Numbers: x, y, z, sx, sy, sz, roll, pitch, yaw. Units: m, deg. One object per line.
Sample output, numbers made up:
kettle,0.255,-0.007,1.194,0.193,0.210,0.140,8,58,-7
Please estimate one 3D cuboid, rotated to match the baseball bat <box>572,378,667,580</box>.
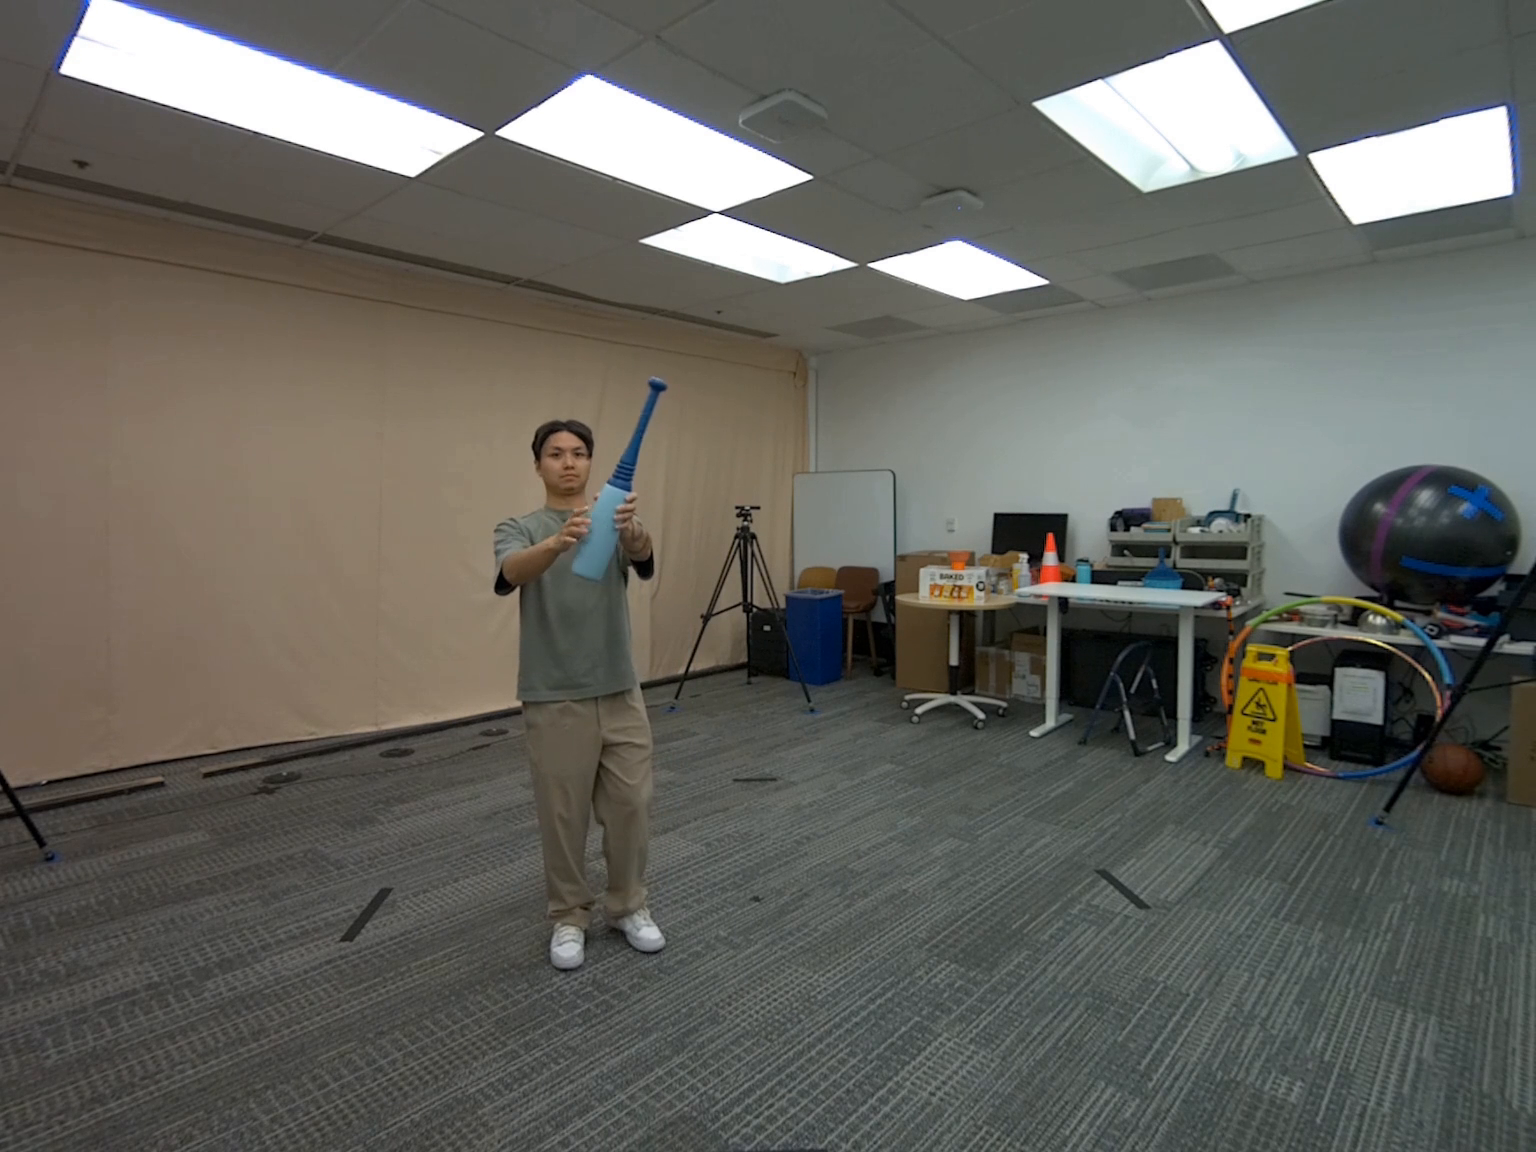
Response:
baseball bat,-0.374,-0.245,2.144,0.089,0.542,0.089,21,5,-4
